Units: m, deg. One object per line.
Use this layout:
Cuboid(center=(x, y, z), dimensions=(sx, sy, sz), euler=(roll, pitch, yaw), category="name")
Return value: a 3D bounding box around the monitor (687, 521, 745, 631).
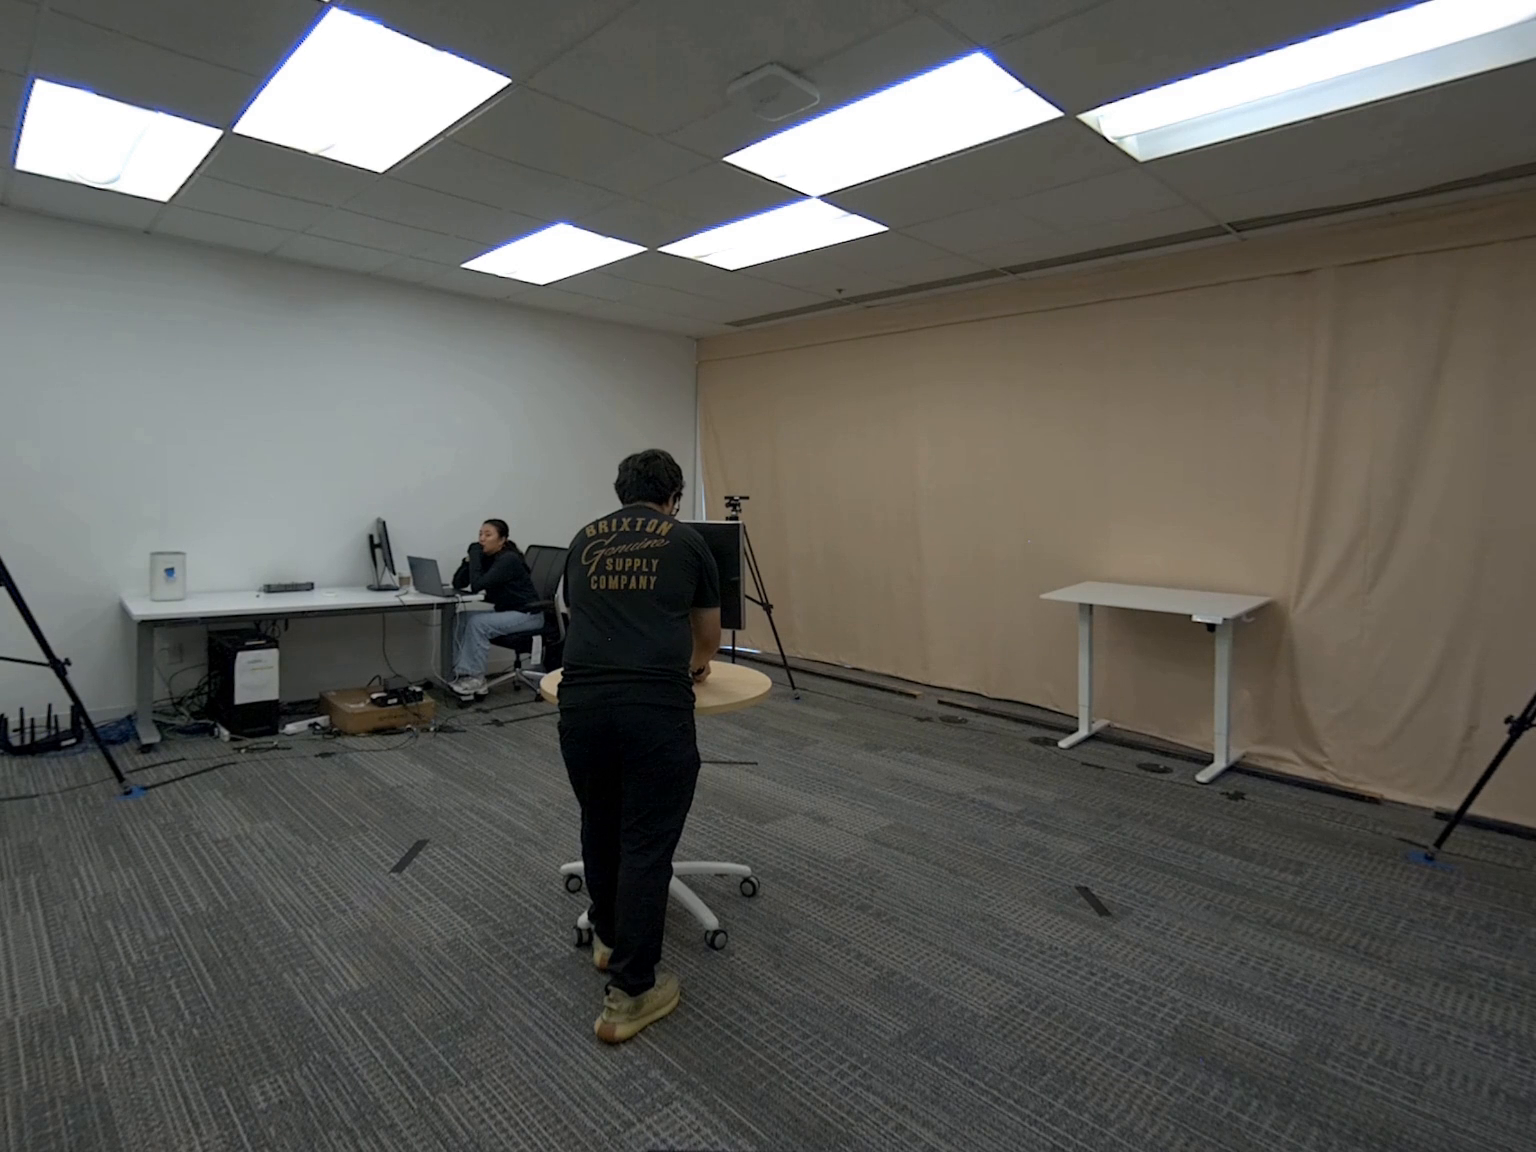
Cuboid(center=(-0.370, 0.085, 2.821), dimensions=(0.575, 0.552, 0.207), euler=(3, 4, 23), category="monitor")
